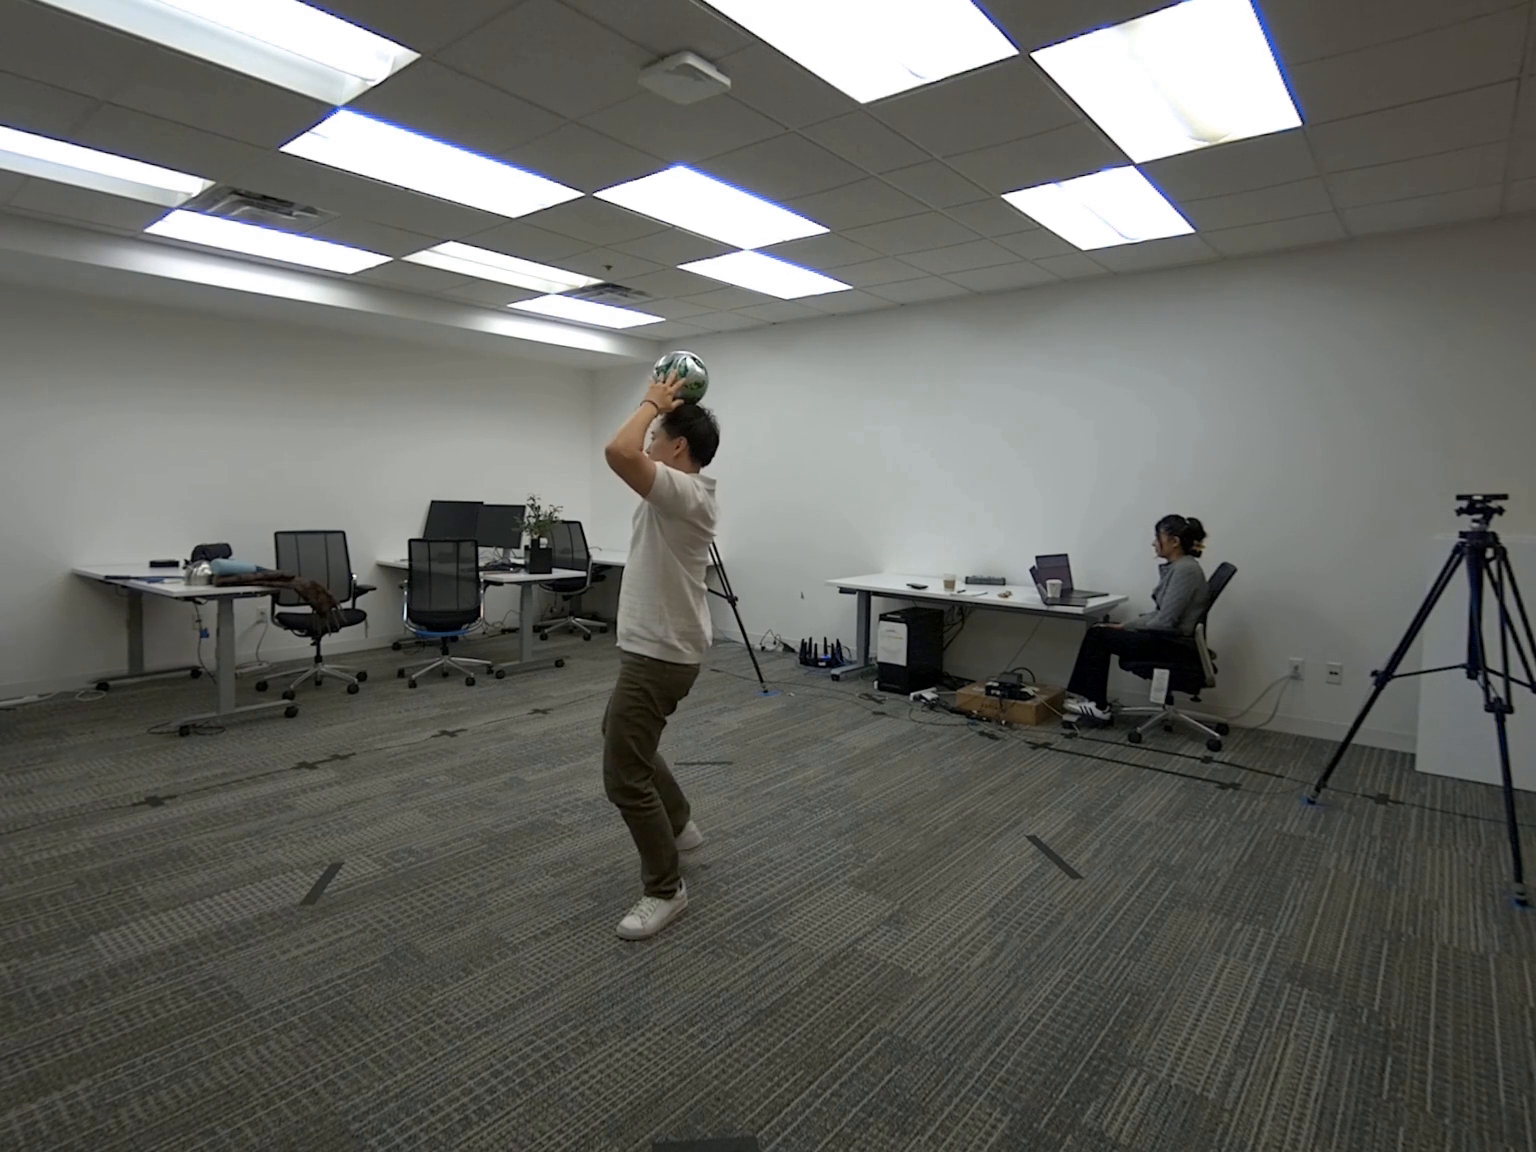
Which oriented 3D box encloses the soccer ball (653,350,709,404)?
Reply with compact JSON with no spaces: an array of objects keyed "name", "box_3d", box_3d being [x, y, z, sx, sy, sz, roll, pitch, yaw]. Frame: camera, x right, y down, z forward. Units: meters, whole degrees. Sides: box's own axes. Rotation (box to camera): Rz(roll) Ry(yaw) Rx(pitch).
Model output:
[{"name":"soccer ball","box_3d":[-0.295,-0.641,2.789,0.187,0.187,0.188,1,4,-2]}]
